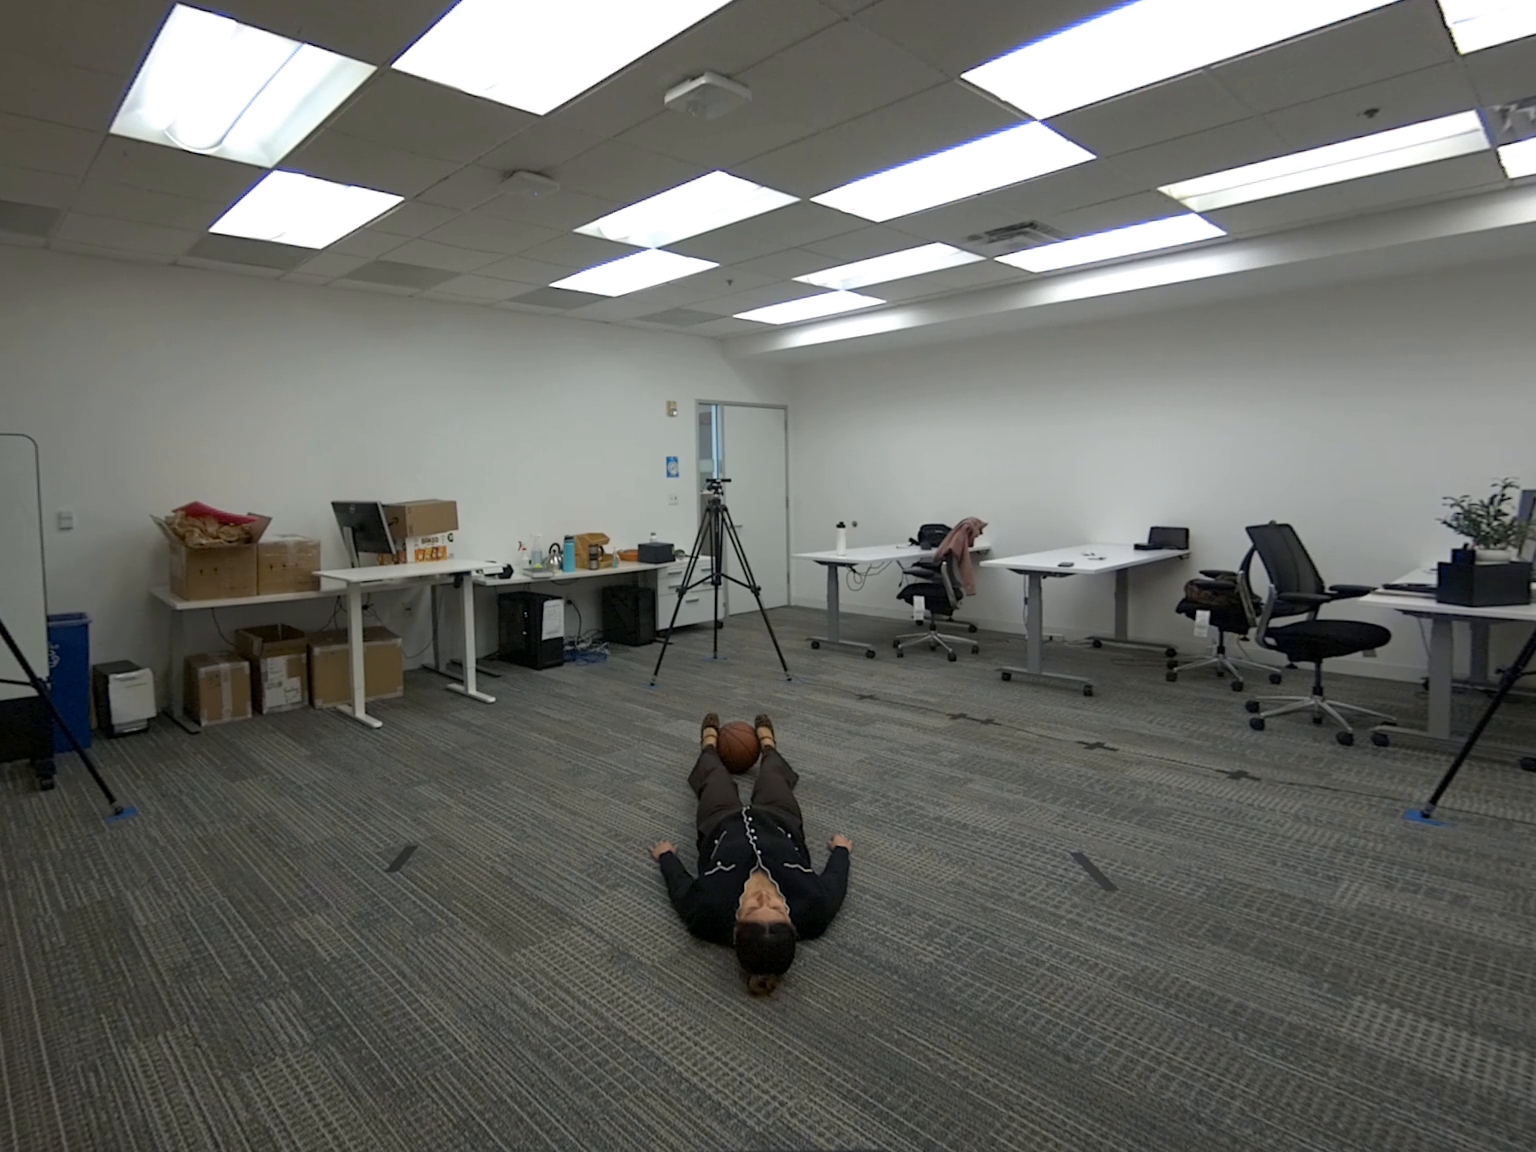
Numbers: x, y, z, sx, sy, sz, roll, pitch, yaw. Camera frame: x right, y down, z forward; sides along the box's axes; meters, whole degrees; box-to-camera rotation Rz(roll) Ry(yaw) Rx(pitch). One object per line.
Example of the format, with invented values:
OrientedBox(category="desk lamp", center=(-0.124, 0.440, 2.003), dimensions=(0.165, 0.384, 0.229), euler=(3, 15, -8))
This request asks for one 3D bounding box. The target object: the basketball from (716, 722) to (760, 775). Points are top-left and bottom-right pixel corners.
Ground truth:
OrientedBox(category="basketball", center=(-0.147, 0.812, 4.095), dimensions=(0.236, 0.235, 0.237), euler=(-4, 4, -1))
